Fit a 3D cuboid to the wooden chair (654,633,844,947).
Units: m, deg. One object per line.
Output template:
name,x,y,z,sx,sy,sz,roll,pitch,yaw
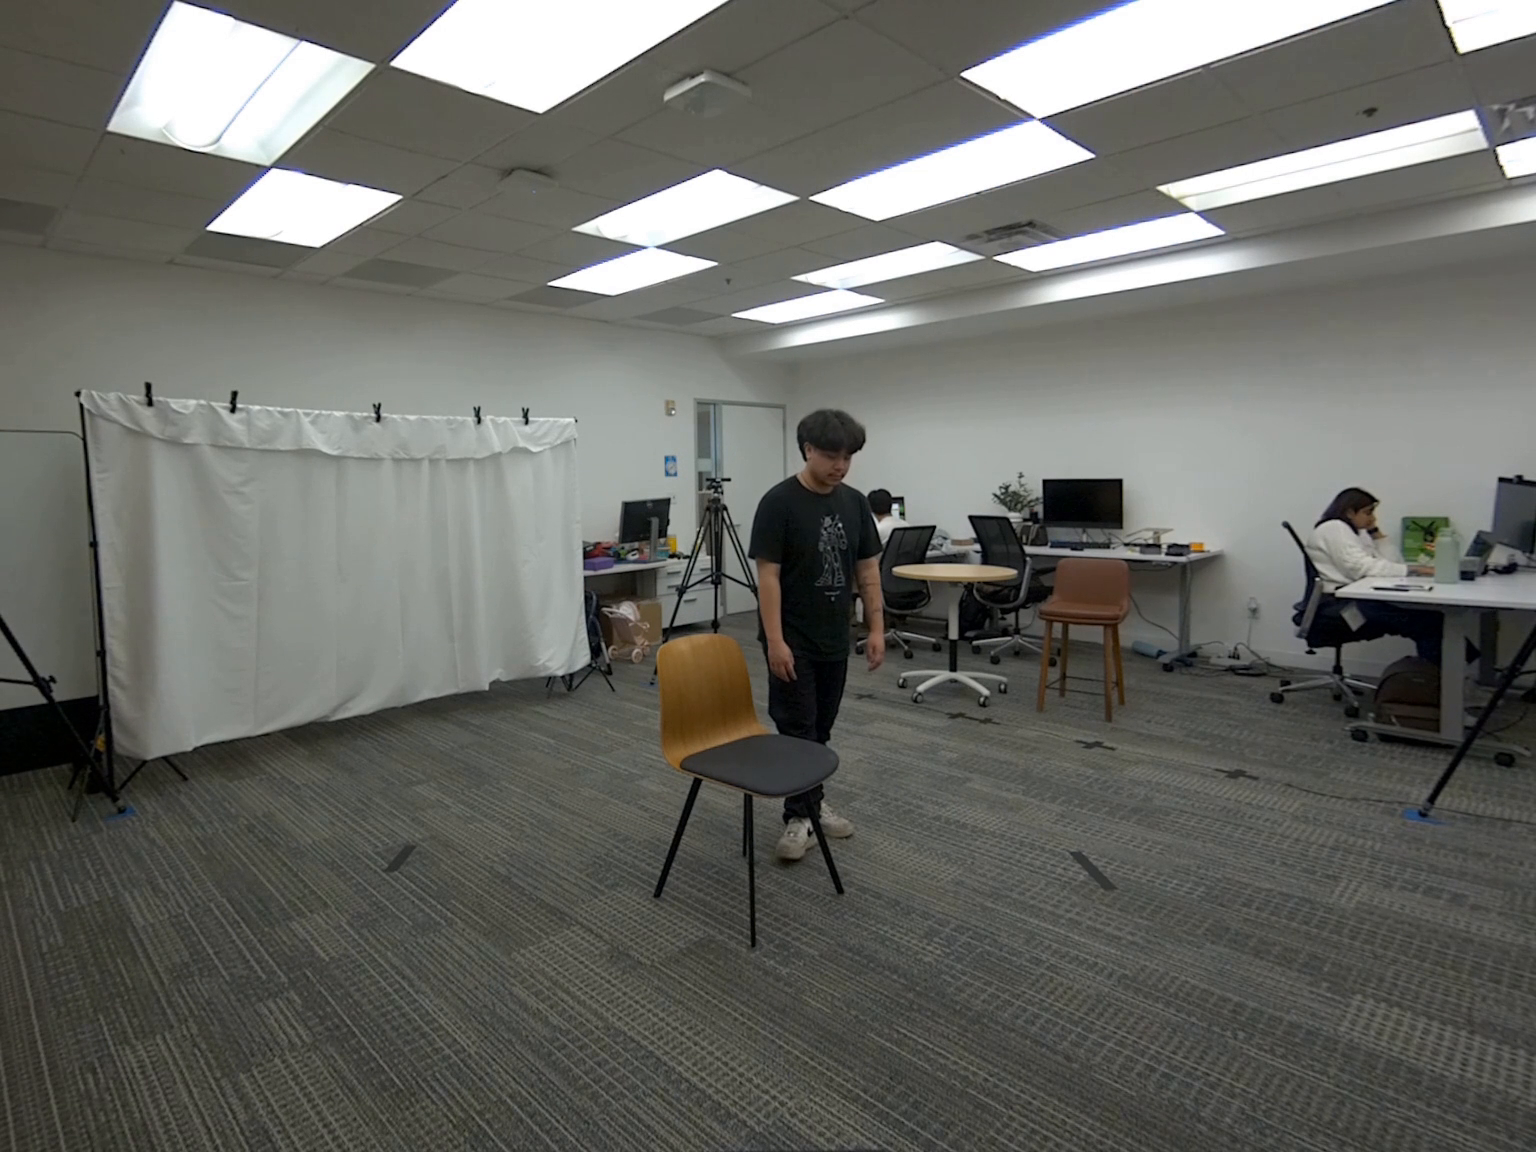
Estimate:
wooden chair,-0.065,0.647,2.822,0.538,0.877,0.465,-3,1,44
